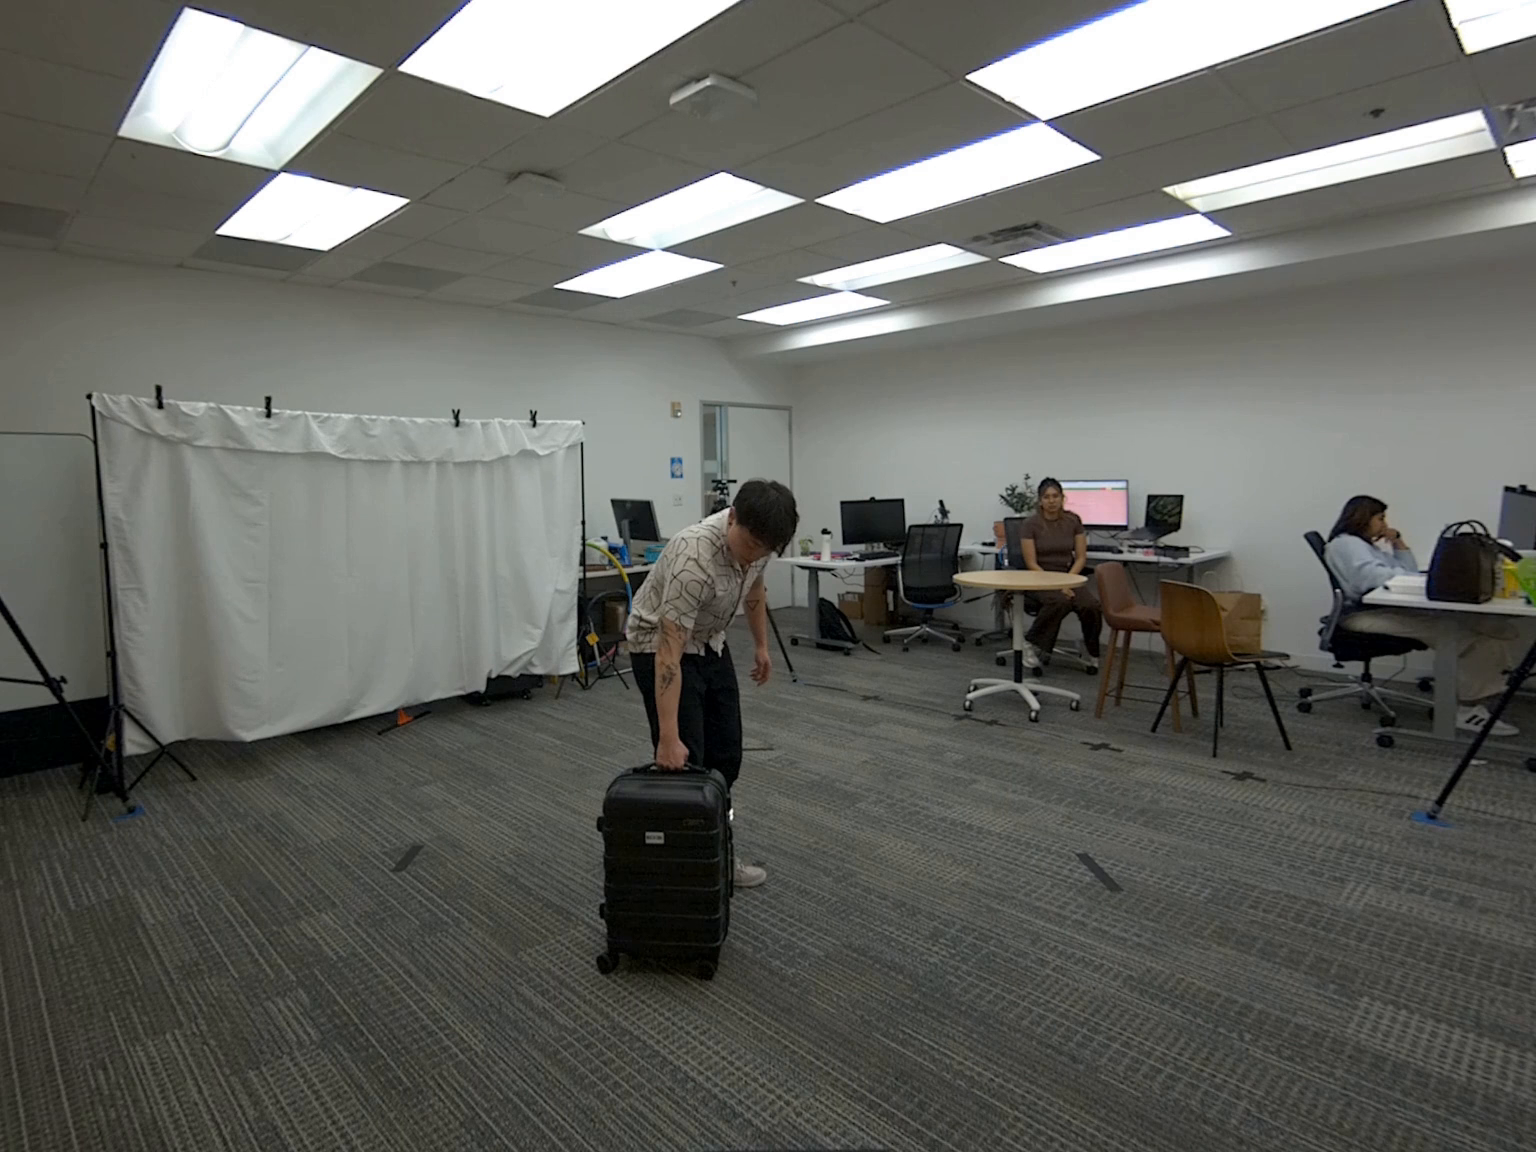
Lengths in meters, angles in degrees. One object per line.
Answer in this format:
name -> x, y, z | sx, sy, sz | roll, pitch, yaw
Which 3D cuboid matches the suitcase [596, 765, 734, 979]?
suitcase -> -0.295, 0.848, 2.512 | 0.378, 0.547, 0.248 | 1, 5, 7
